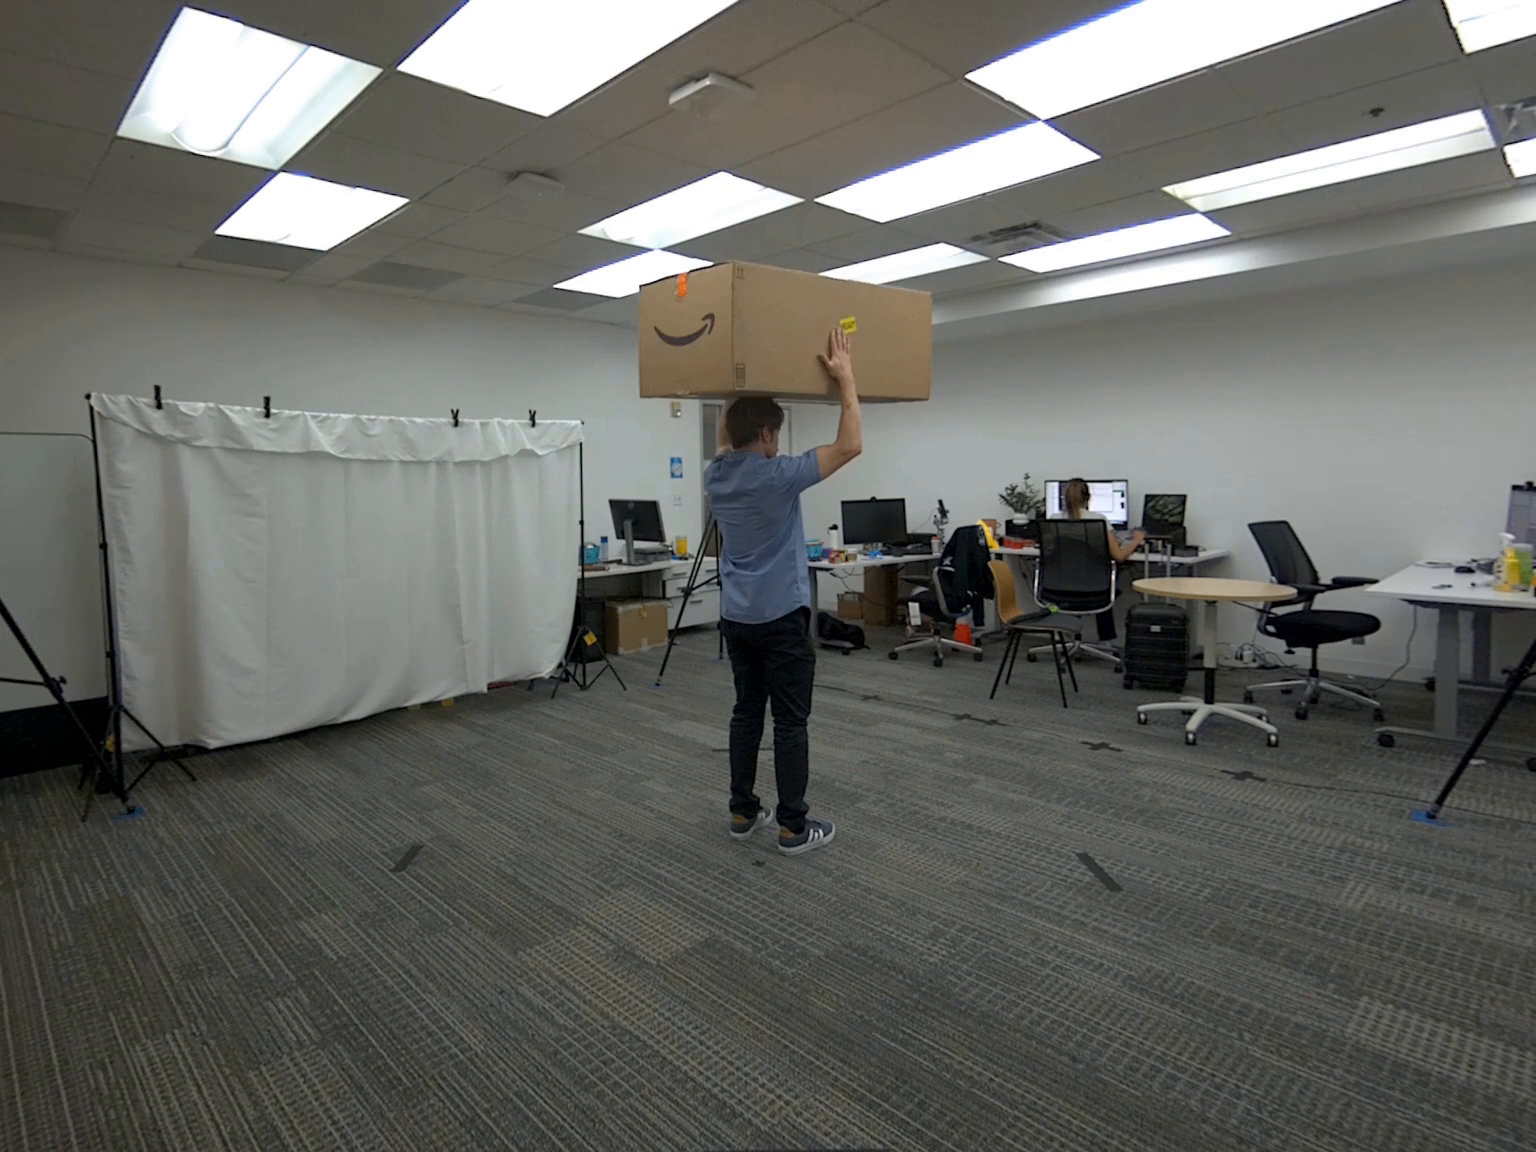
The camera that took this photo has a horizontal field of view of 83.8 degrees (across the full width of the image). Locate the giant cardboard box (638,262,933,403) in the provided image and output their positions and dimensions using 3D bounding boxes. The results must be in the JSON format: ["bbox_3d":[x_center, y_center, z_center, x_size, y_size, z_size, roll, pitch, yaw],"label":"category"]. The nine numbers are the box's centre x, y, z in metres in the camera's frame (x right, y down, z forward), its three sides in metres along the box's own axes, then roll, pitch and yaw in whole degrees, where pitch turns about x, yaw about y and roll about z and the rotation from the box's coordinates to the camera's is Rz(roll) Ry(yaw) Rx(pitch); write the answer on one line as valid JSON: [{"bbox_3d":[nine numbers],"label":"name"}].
[{"bbox_3d":[0.081,-0.903,3.330,0.999,0.423,0.596,-7,10,-39],"label":"giant cardboard box"}]
